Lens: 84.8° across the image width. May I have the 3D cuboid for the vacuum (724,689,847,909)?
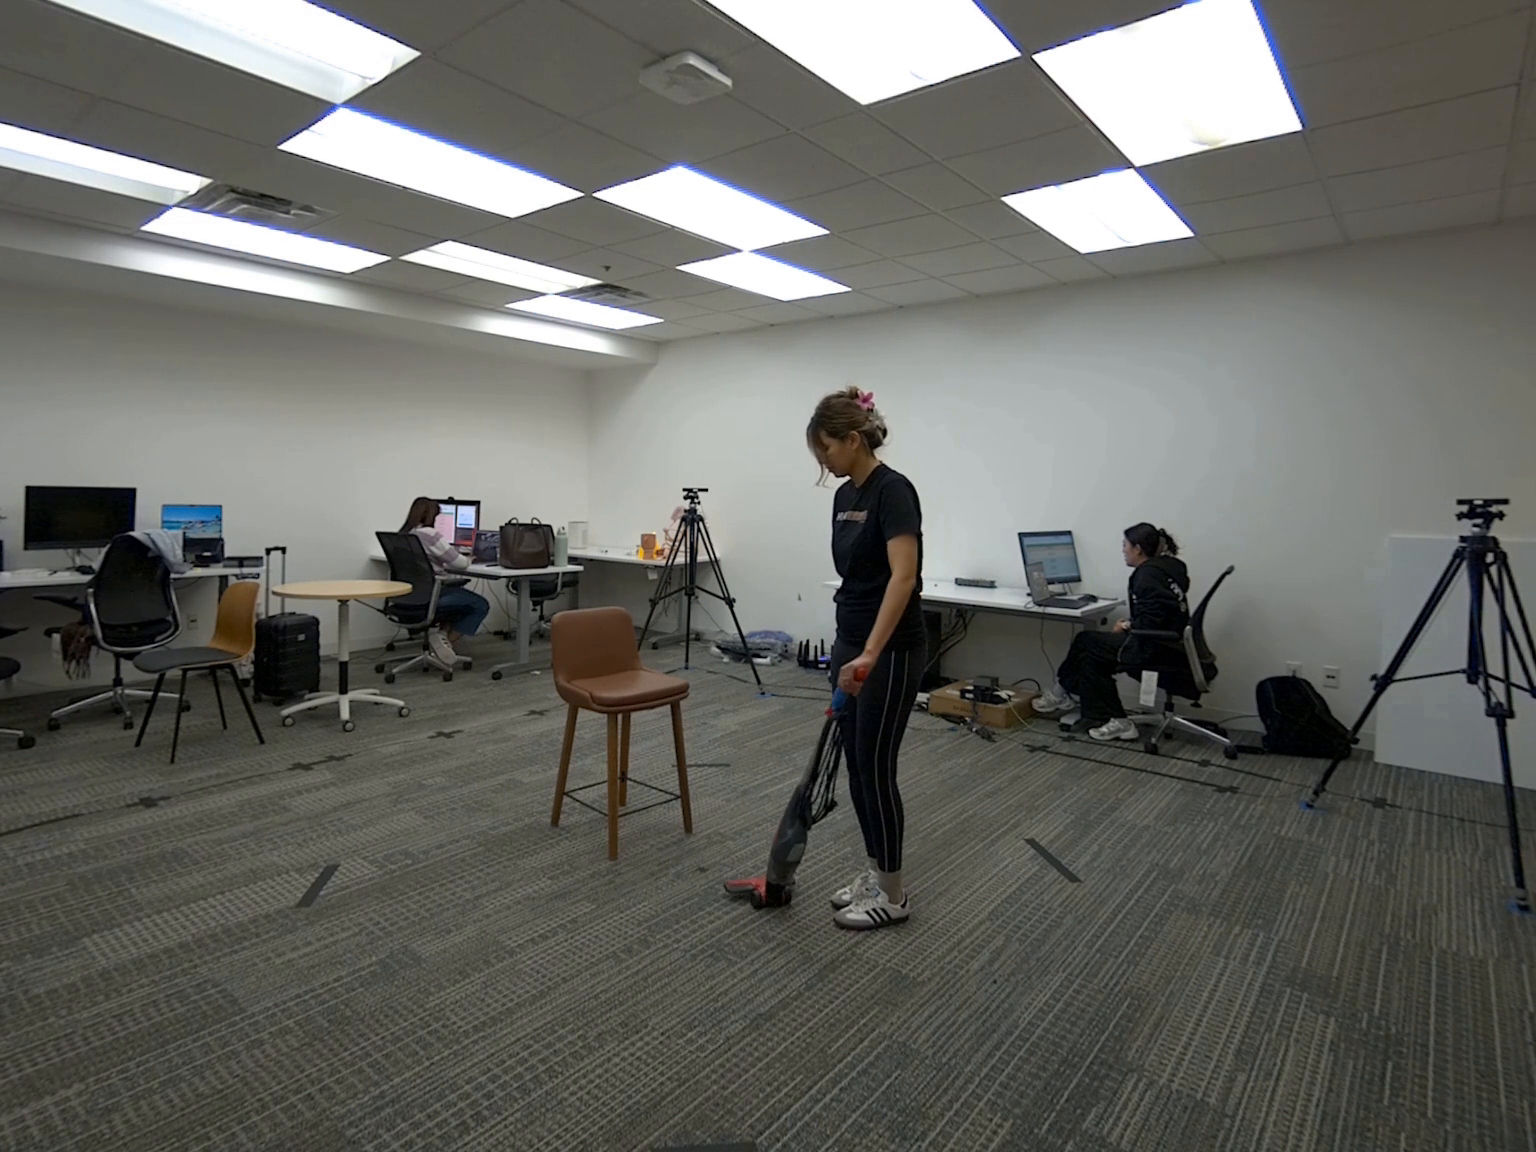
[{"bbox_3d":[0.116,0.673,2.613,0.246,1.031,0.150,-4,39,-29],"label":"vacuum"}]
